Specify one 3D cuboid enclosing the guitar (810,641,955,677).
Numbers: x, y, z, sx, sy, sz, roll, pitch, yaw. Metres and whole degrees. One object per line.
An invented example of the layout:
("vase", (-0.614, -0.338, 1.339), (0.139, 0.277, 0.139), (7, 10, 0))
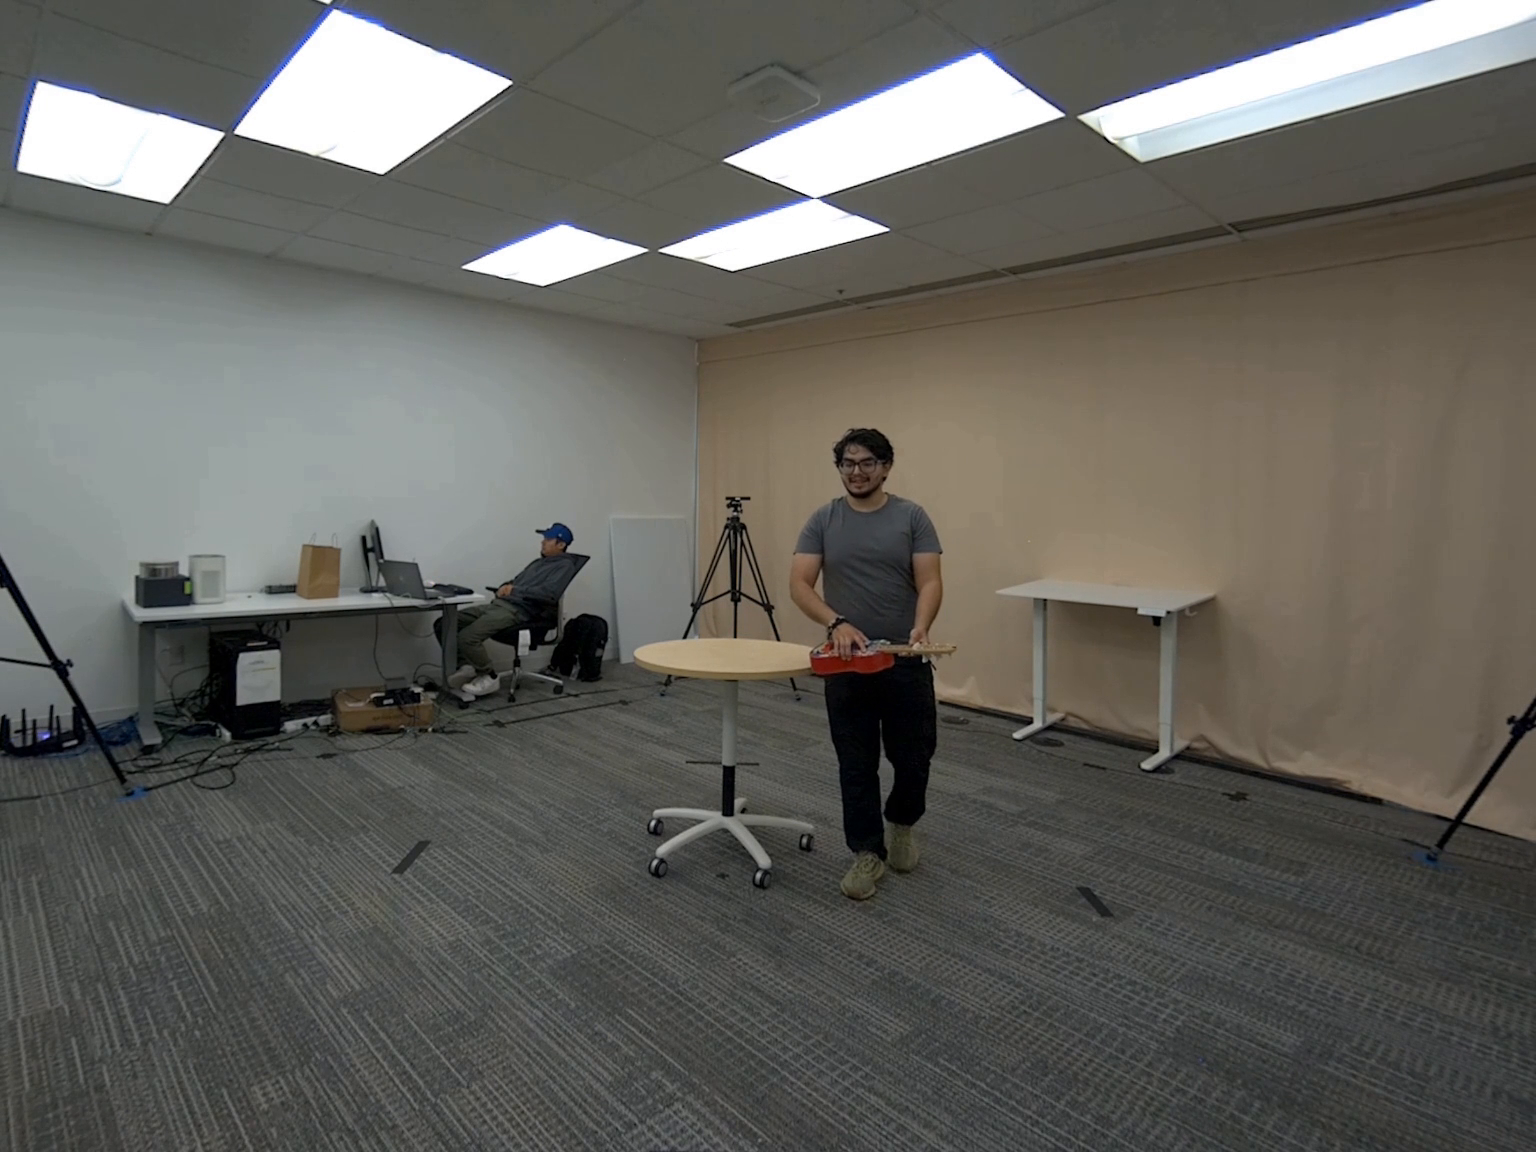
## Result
("guitar", (0.327, 0.267, 2.662), (0.190, 0.070, 0.510), (-19, 14, -39))
